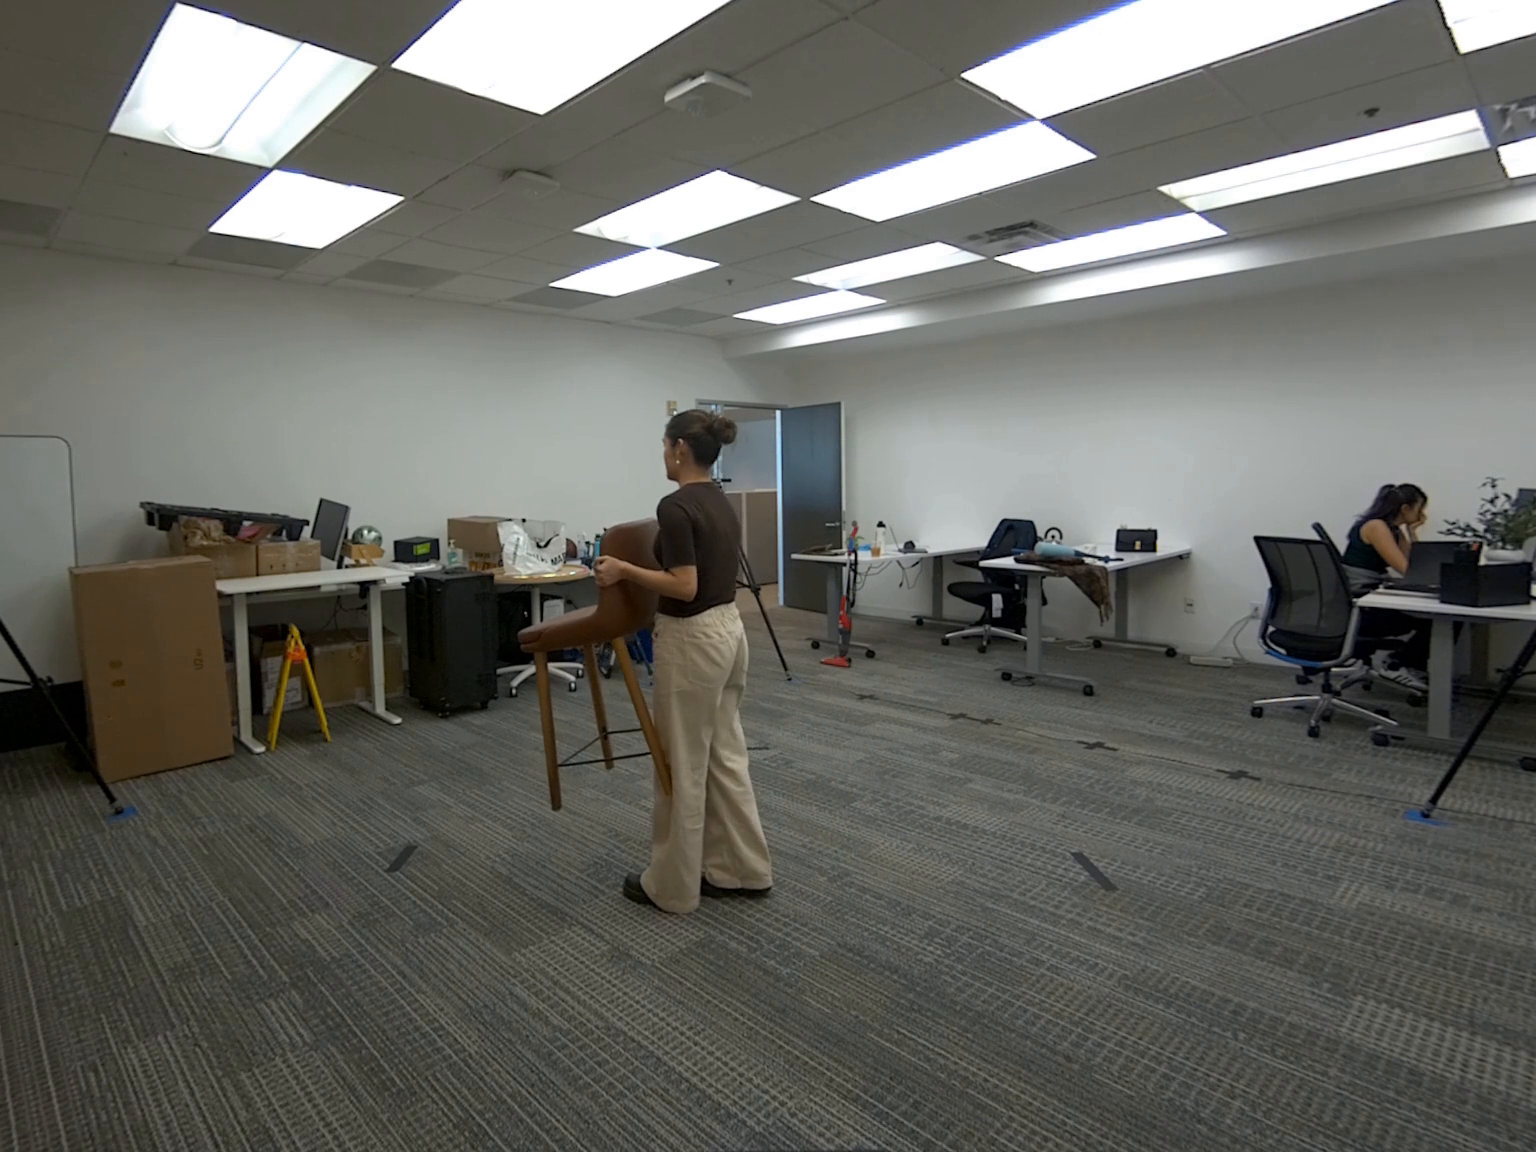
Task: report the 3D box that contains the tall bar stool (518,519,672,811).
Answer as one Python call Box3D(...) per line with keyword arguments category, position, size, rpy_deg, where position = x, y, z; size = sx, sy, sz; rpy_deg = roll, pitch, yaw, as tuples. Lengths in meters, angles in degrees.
Box3D(category="tall bar stool", position=(-0.542, 0.291, 2.933), size=(0.475, 0.888, 0.450), rpy_deg=(-11, 2, 21))
